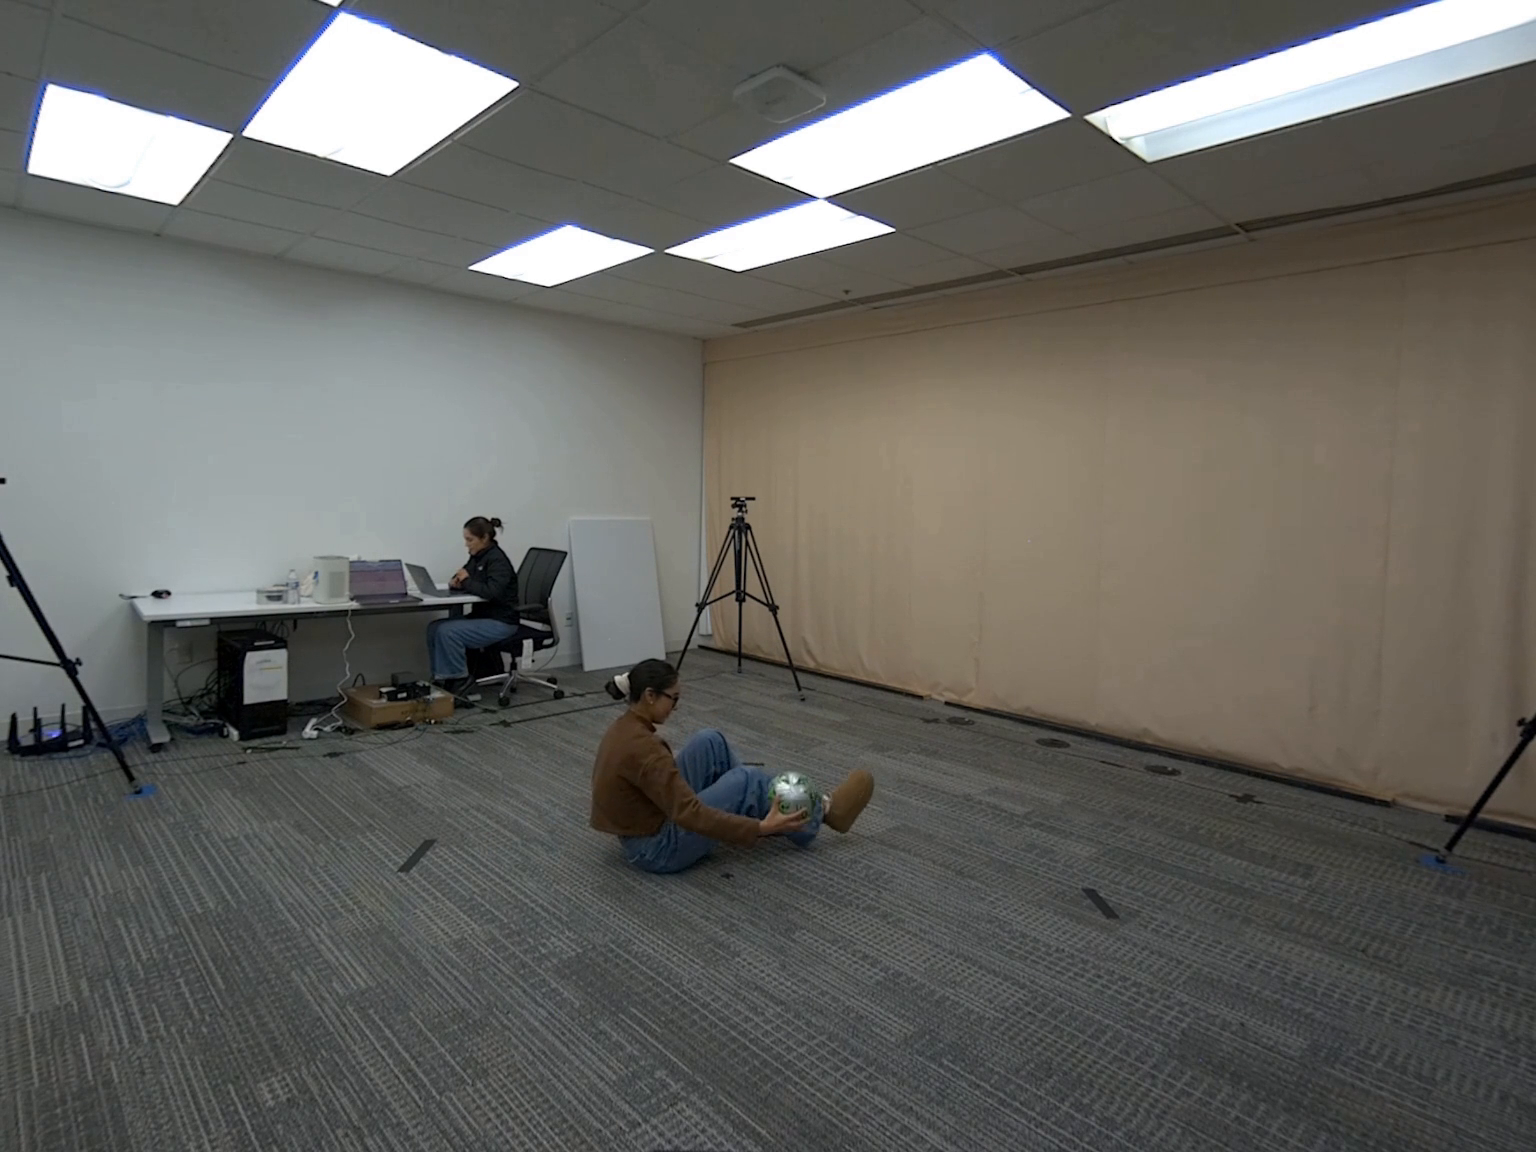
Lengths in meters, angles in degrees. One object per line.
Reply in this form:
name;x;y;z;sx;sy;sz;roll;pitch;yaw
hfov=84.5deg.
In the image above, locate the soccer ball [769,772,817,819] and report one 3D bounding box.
soccer ball;0.078;0.796;3.003;0.187;0.187;0.188;1;4;-1
